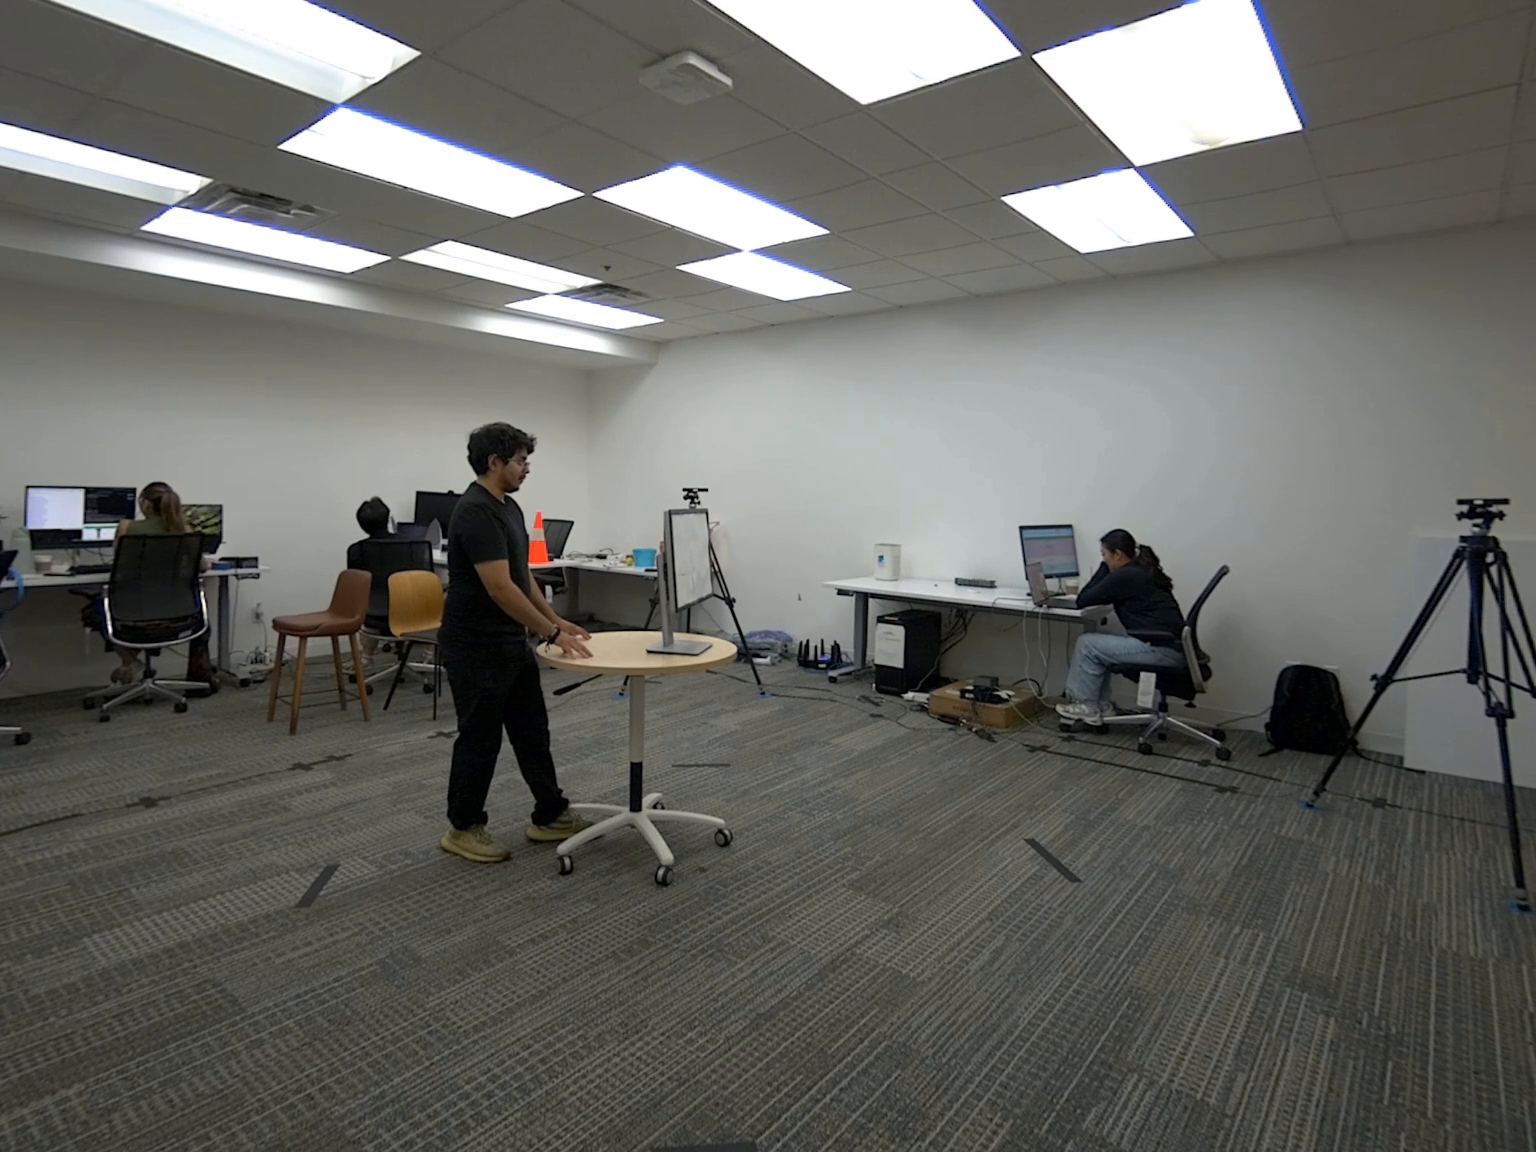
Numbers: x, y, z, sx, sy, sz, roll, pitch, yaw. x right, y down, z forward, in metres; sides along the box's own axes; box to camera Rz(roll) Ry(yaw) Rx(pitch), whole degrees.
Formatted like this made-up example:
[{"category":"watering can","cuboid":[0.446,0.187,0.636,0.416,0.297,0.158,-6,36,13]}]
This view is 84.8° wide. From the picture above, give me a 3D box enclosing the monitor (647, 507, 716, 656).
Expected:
[{"category":"monitor","cuboid":[-0.366,0.018,3.245,0.213,0.553,0.560,-1,3,10]}]
